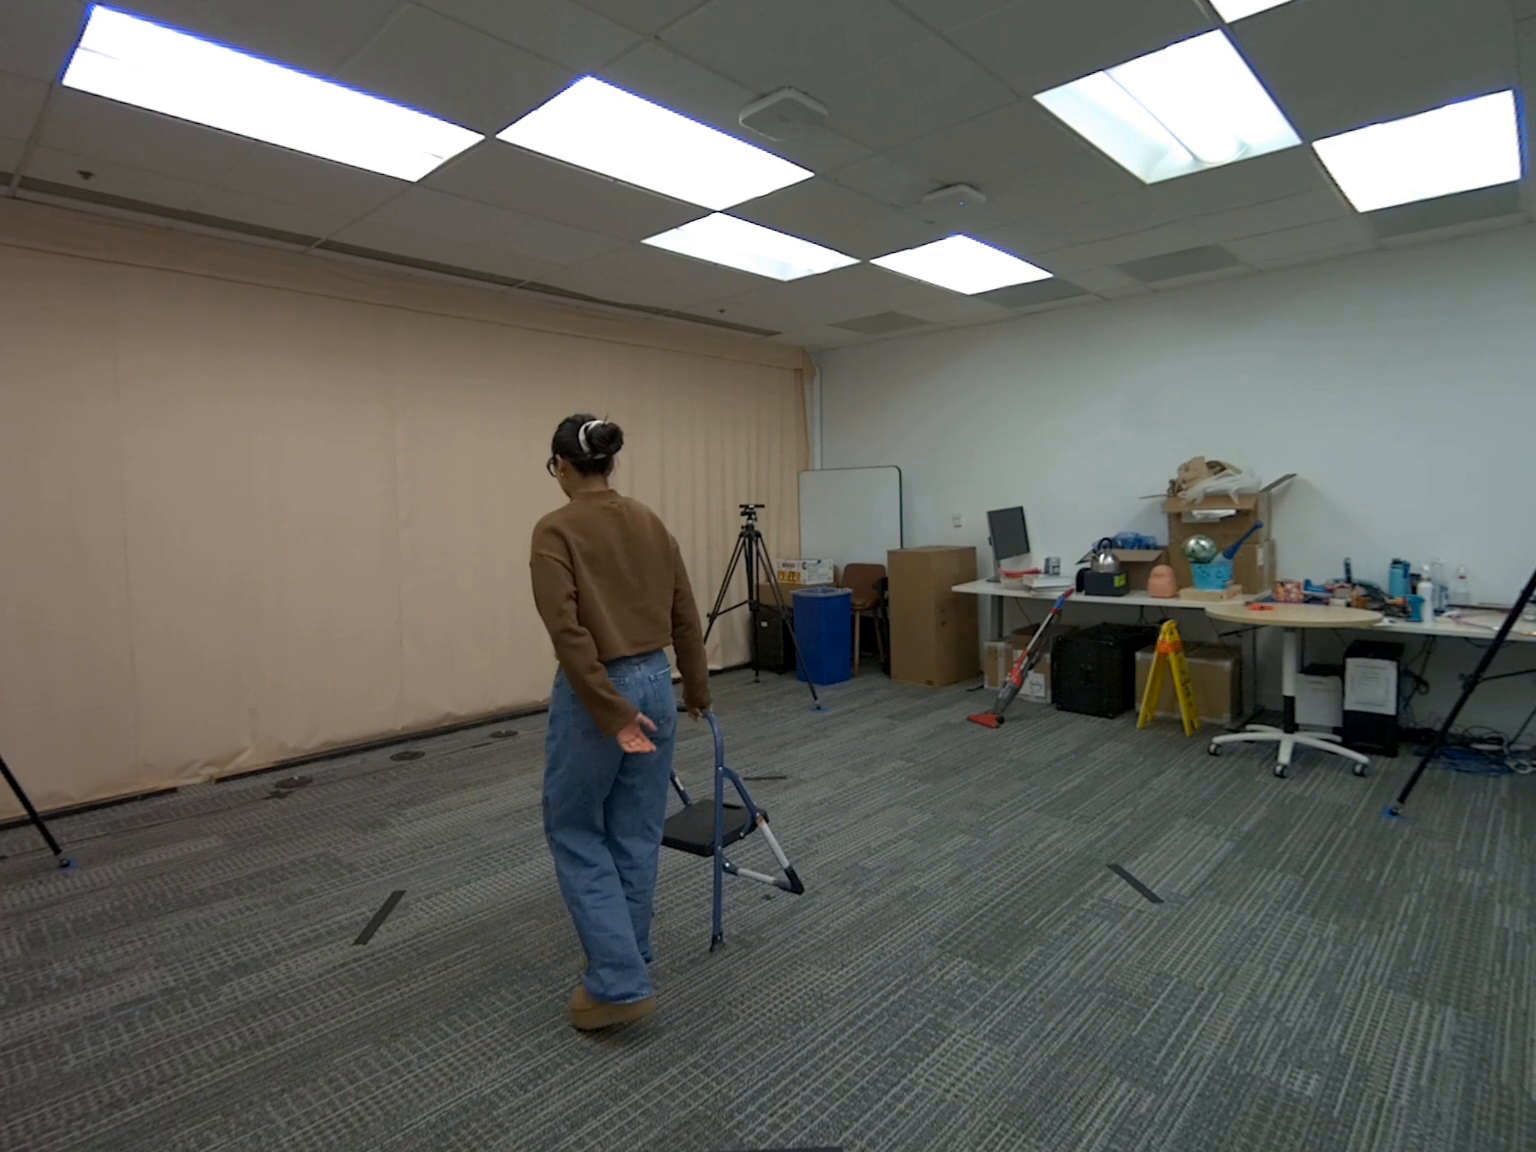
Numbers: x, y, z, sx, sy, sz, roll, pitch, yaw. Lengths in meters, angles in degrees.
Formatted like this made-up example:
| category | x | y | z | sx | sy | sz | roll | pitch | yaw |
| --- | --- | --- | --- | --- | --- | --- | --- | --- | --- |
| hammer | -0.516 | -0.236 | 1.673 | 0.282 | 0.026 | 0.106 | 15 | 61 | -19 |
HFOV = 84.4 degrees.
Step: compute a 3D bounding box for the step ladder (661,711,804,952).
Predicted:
| category | x | y | z | sx | sy | sz | roll | pitch | yaw |
| --- | --- | --- | --- | --- | --- | --- | --- | --- | --- |
| step ladder | -0.222 | 0.707 | 2.533 | 0.341 | 0.606 | 0.441 | -17 | 1 | -37 |
